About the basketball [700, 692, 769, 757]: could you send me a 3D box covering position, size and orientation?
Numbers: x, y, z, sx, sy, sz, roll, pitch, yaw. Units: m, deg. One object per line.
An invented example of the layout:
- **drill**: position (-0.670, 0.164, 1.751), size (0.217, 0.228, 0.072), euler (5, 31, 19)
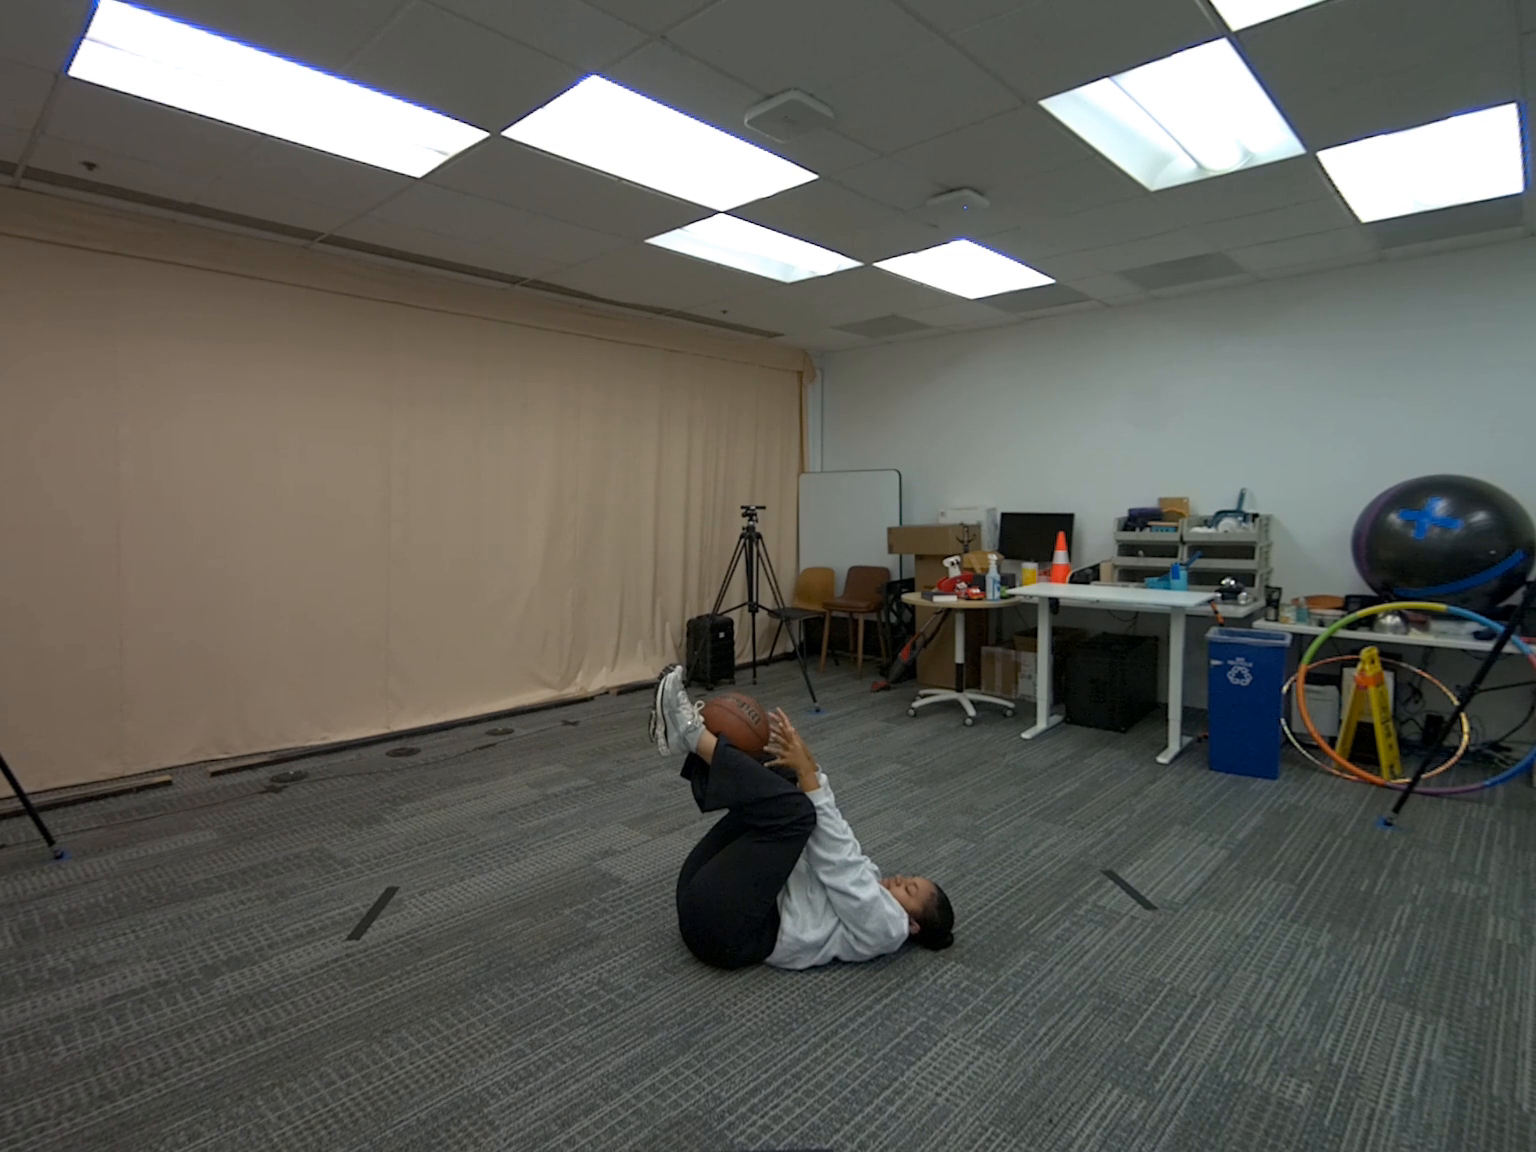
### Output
- **basketball**: position (-0.107, 0.485, 2.652), size (0.236, 0.235, 0.237), euler (0, 4, -2)
